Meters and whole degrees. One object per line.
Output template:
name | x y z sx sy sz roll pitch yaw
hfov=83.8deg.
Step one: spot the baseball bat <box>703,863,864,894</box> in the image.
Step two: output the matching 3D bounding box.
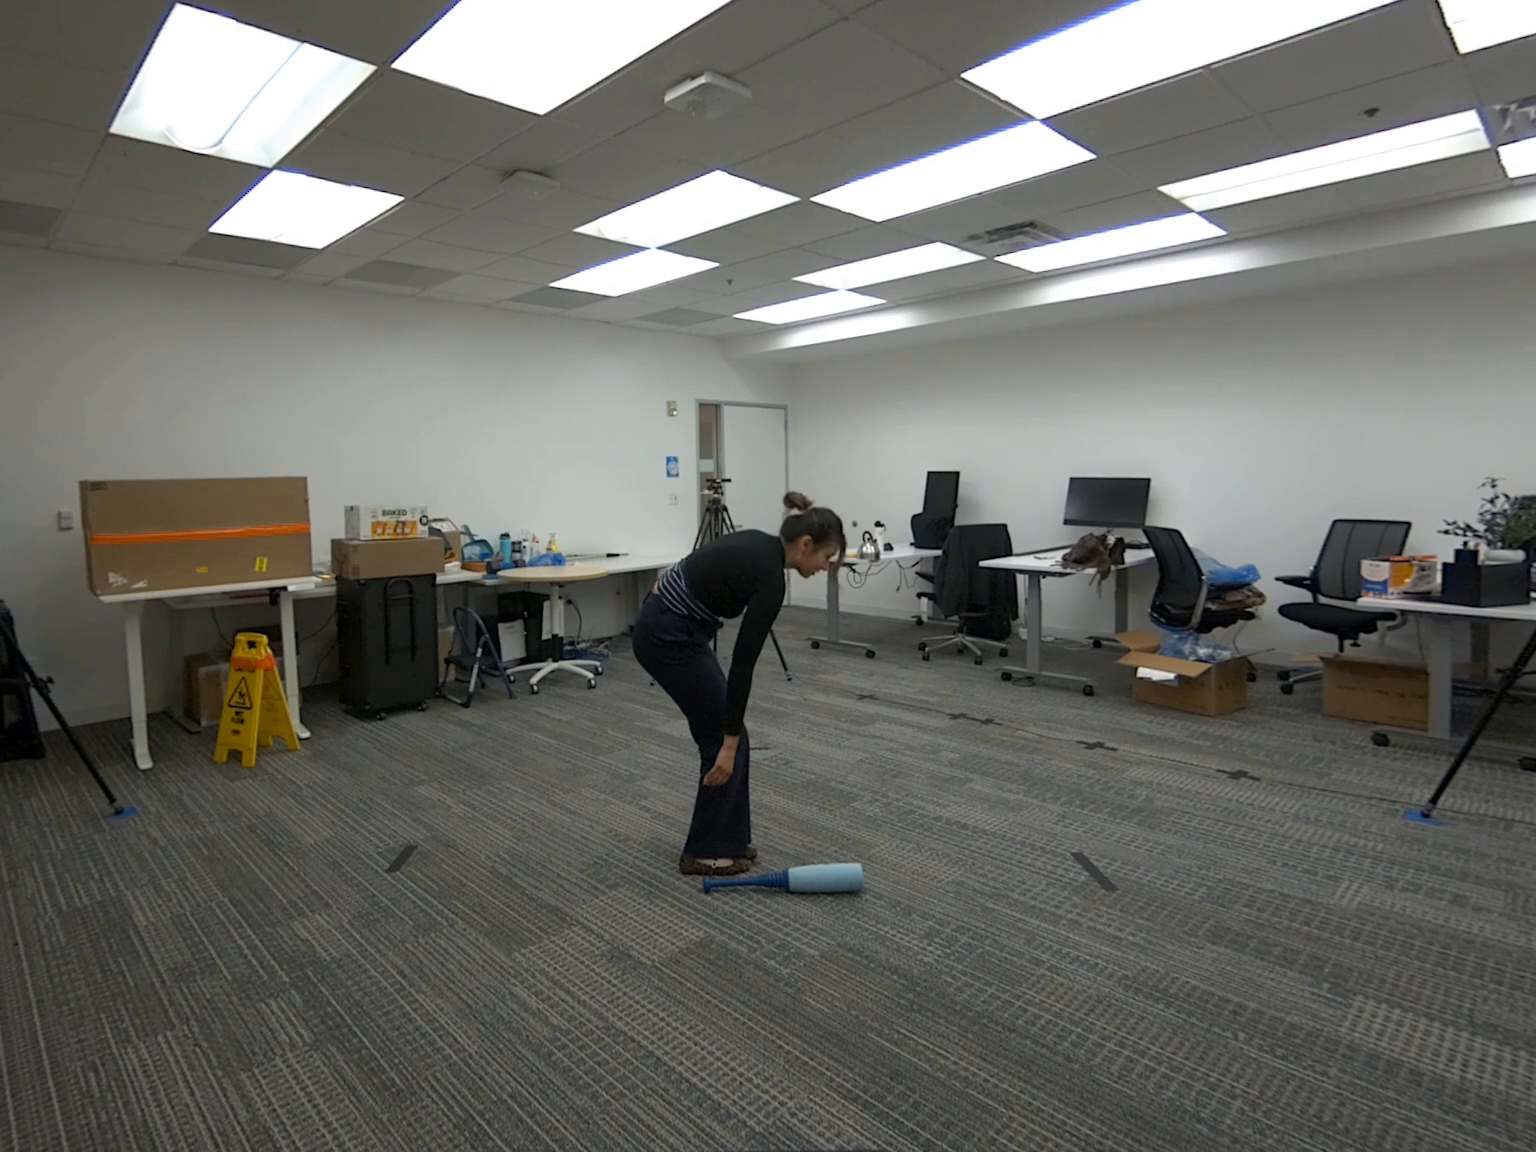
baseball bat | 0.057 1.035 2.883 0.544 0.089 0.089 -5 5 1
